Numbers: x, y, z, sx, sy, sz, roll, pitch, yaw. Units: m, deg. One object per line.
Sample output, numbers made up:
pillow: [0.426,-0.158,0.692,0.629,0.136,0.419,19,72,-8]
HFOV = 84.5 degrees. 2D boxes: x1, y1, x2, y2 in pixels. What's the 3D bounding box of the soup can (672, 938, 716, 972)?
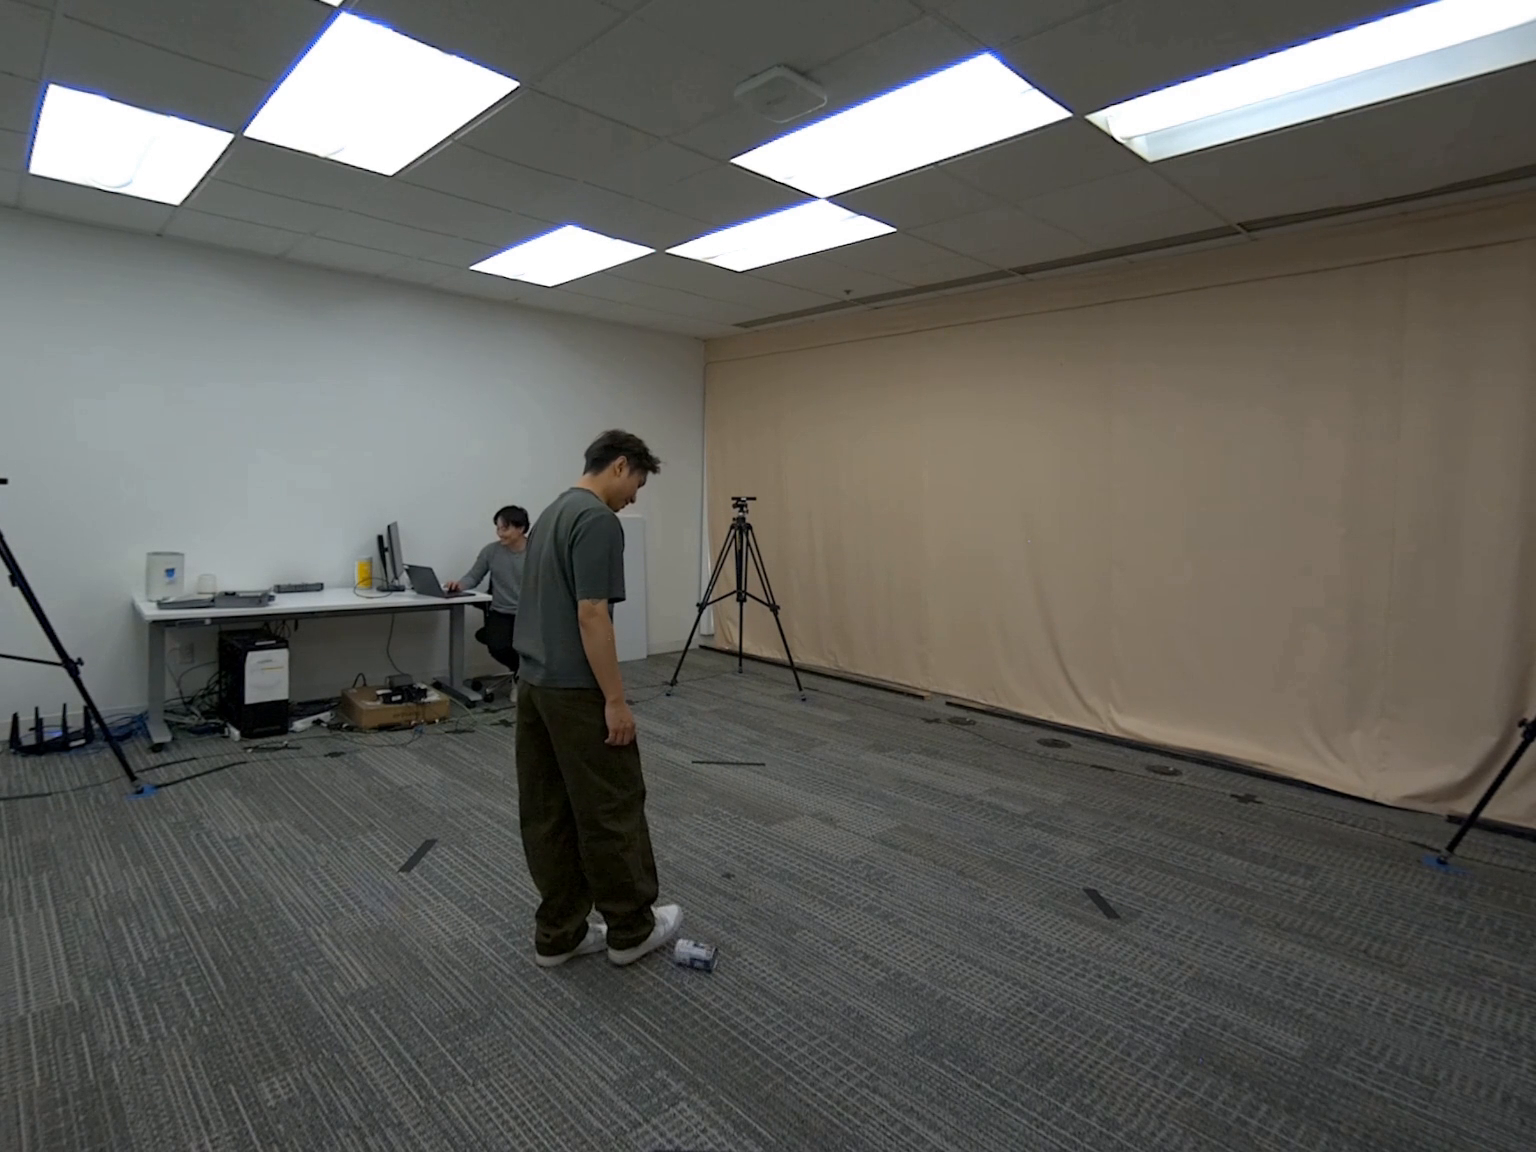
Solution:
soup can: [-0.234,1.142,2.488,0.123,0.067,0.066,4,5,16]
